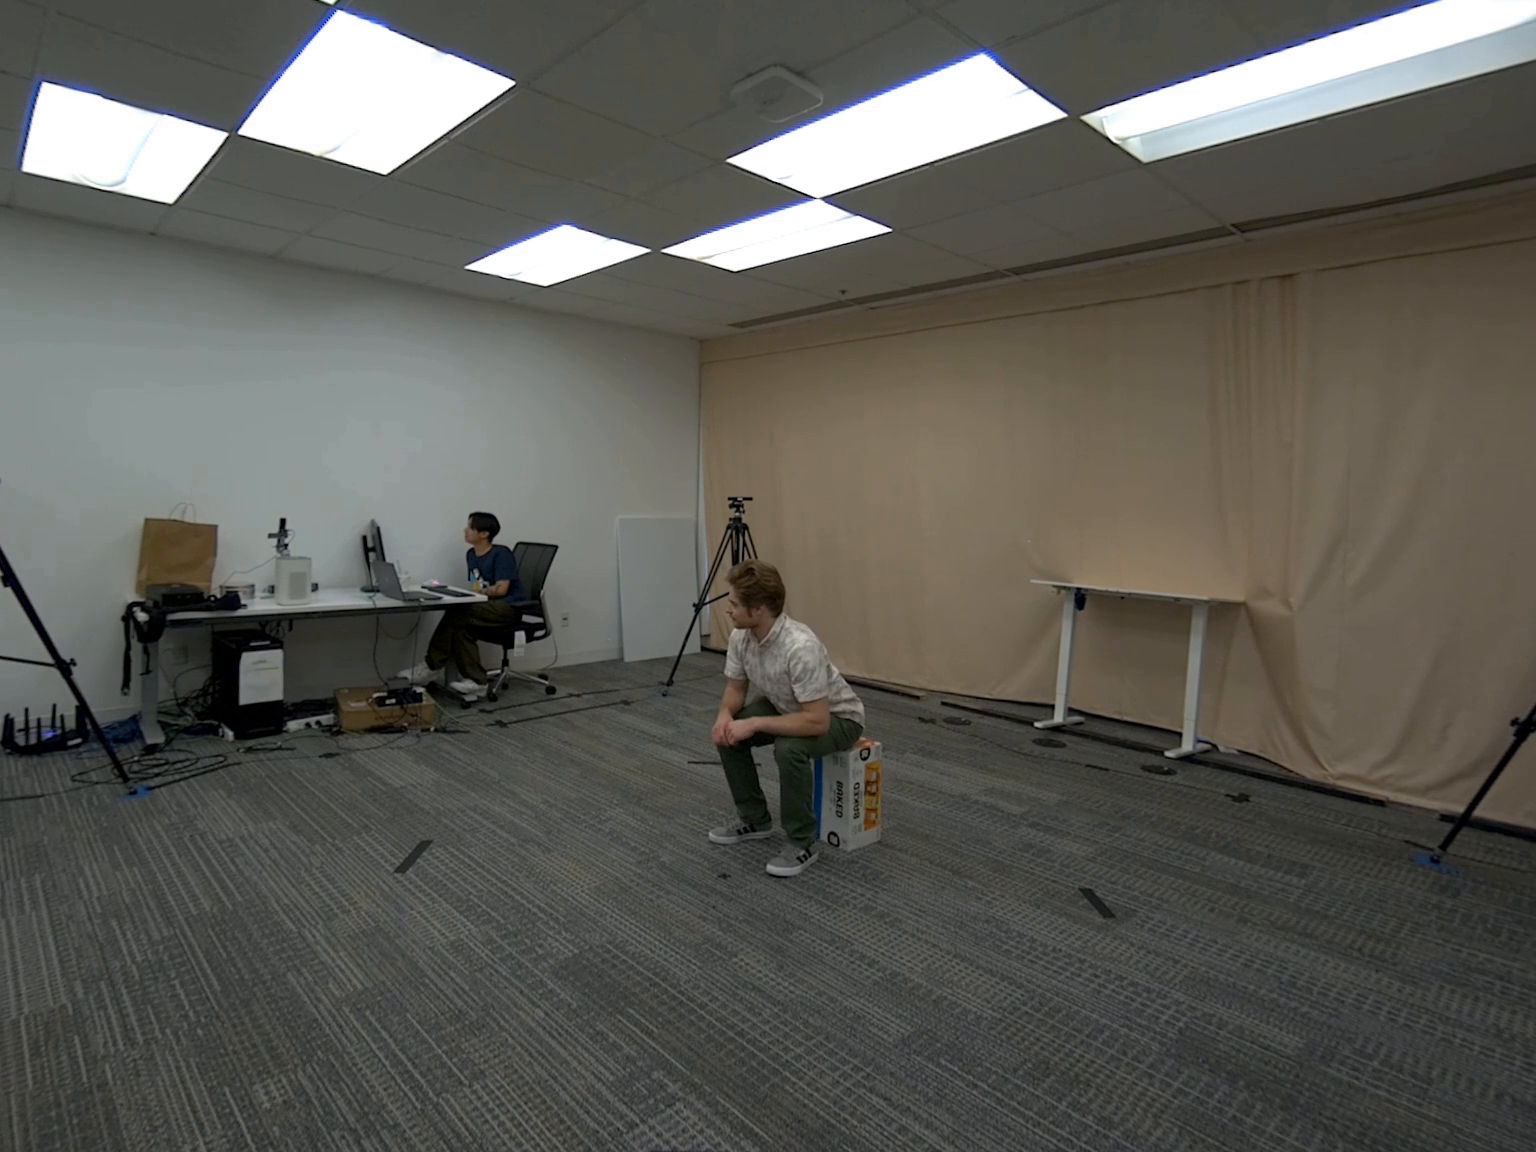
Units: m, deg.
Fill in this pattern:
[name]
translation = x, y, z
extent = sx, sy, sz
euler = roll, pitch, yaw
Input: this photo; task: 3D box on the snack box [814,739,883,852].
[snack box]
translation = 0.274, 0.880, 3.534
extent = 0.201, 0.404, 0.349
euler = -4, 6, -41
